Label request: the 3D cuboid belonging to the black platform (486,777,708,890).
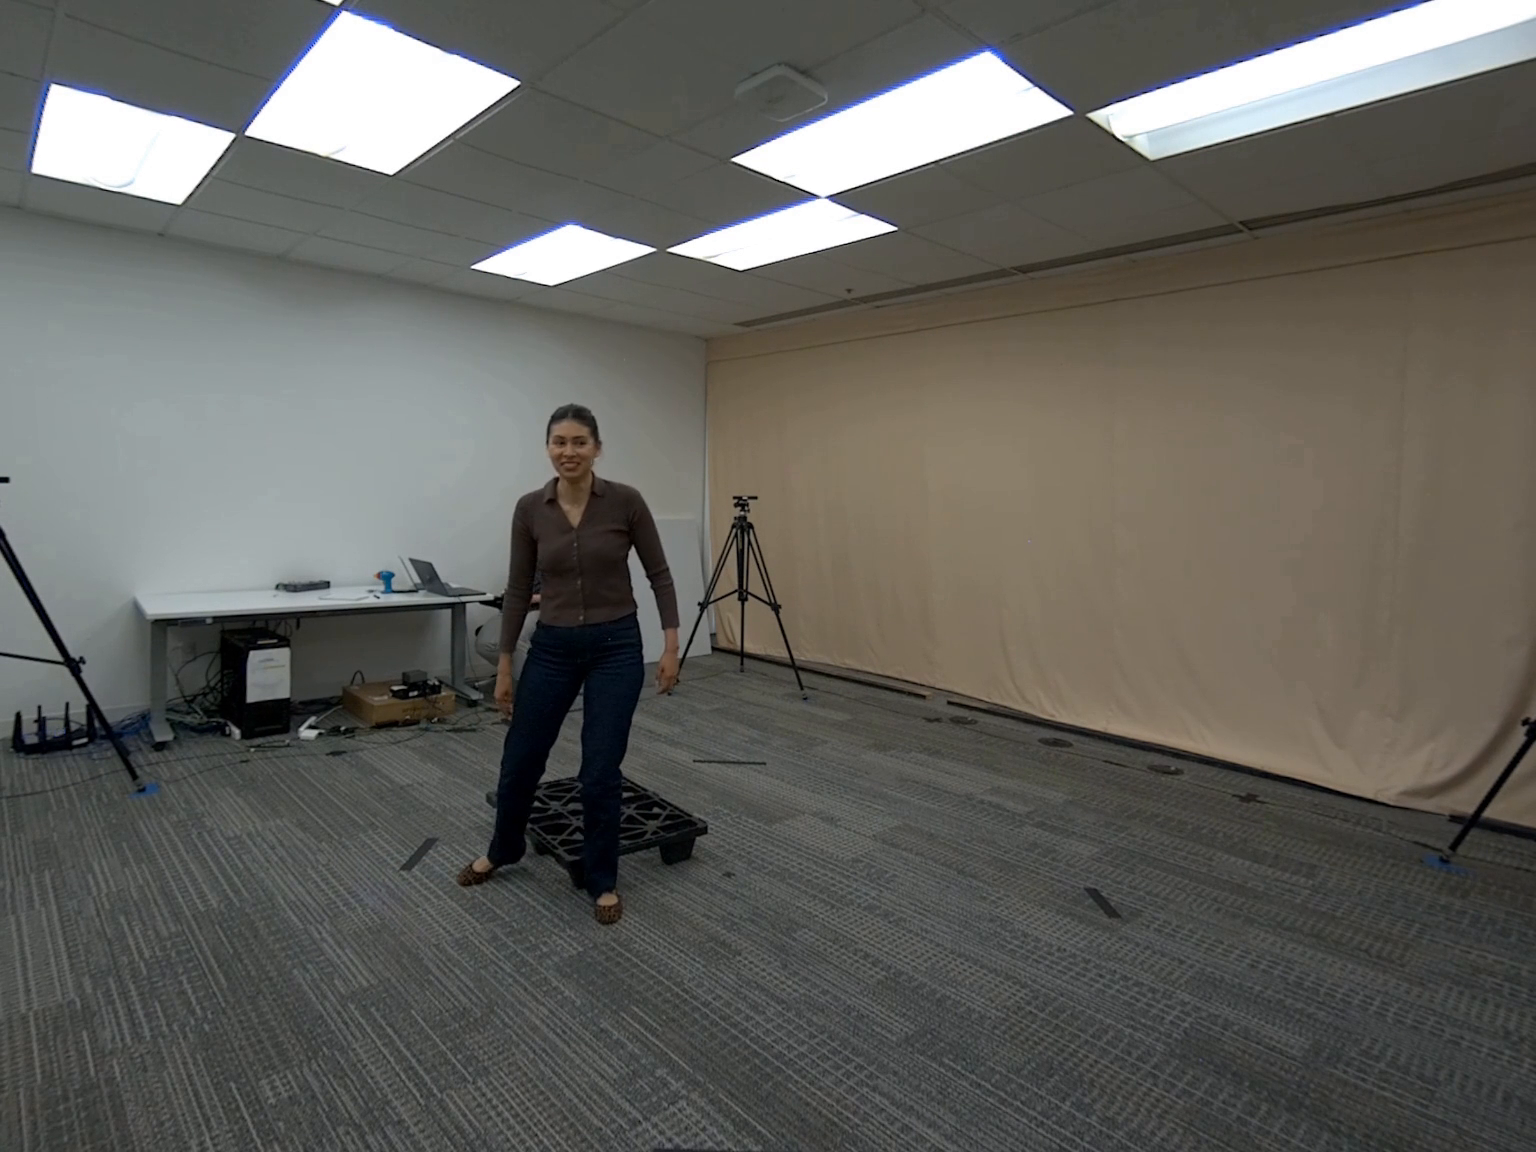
[{"bbox_3d":[-0.711,0.998,3.390,0.591,0.143,0.826,-2,6,-37],"label":"black platform"}]
